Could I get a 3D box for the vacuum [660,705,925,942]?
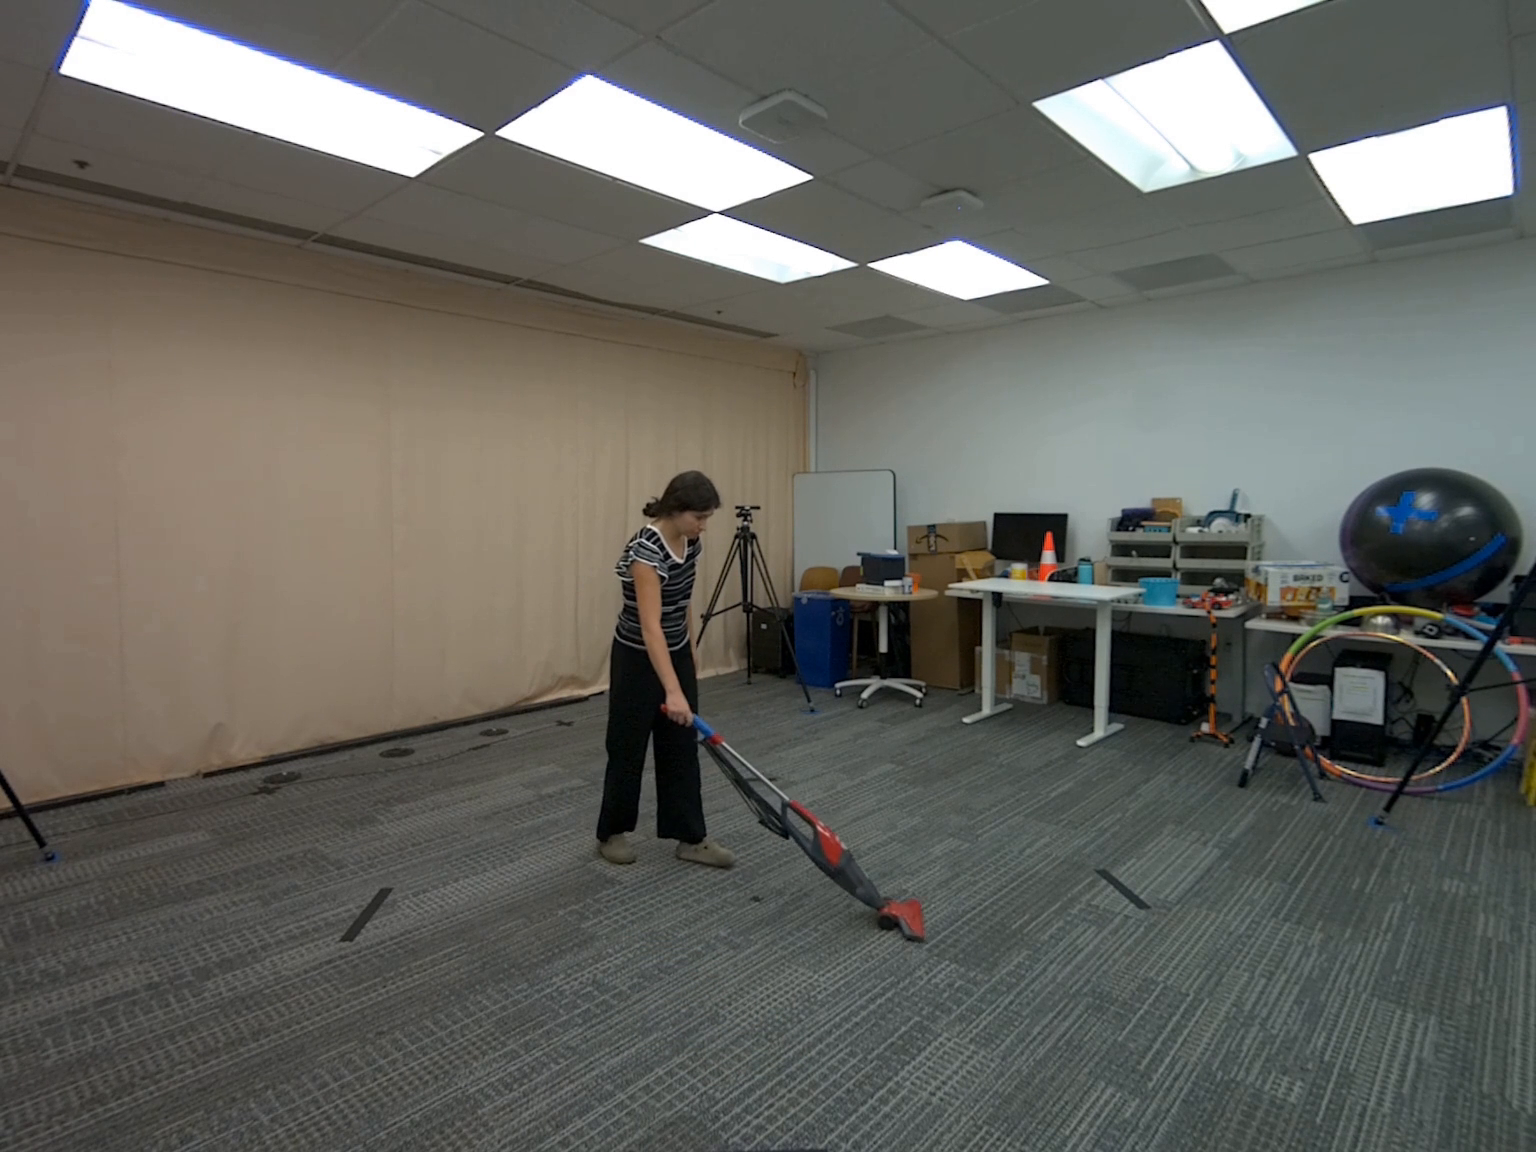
[{"bbox_3d":[0.056,0.806,2.884,1.059,0.144,0.249,40,12,7],"label":"vacuum"}]
